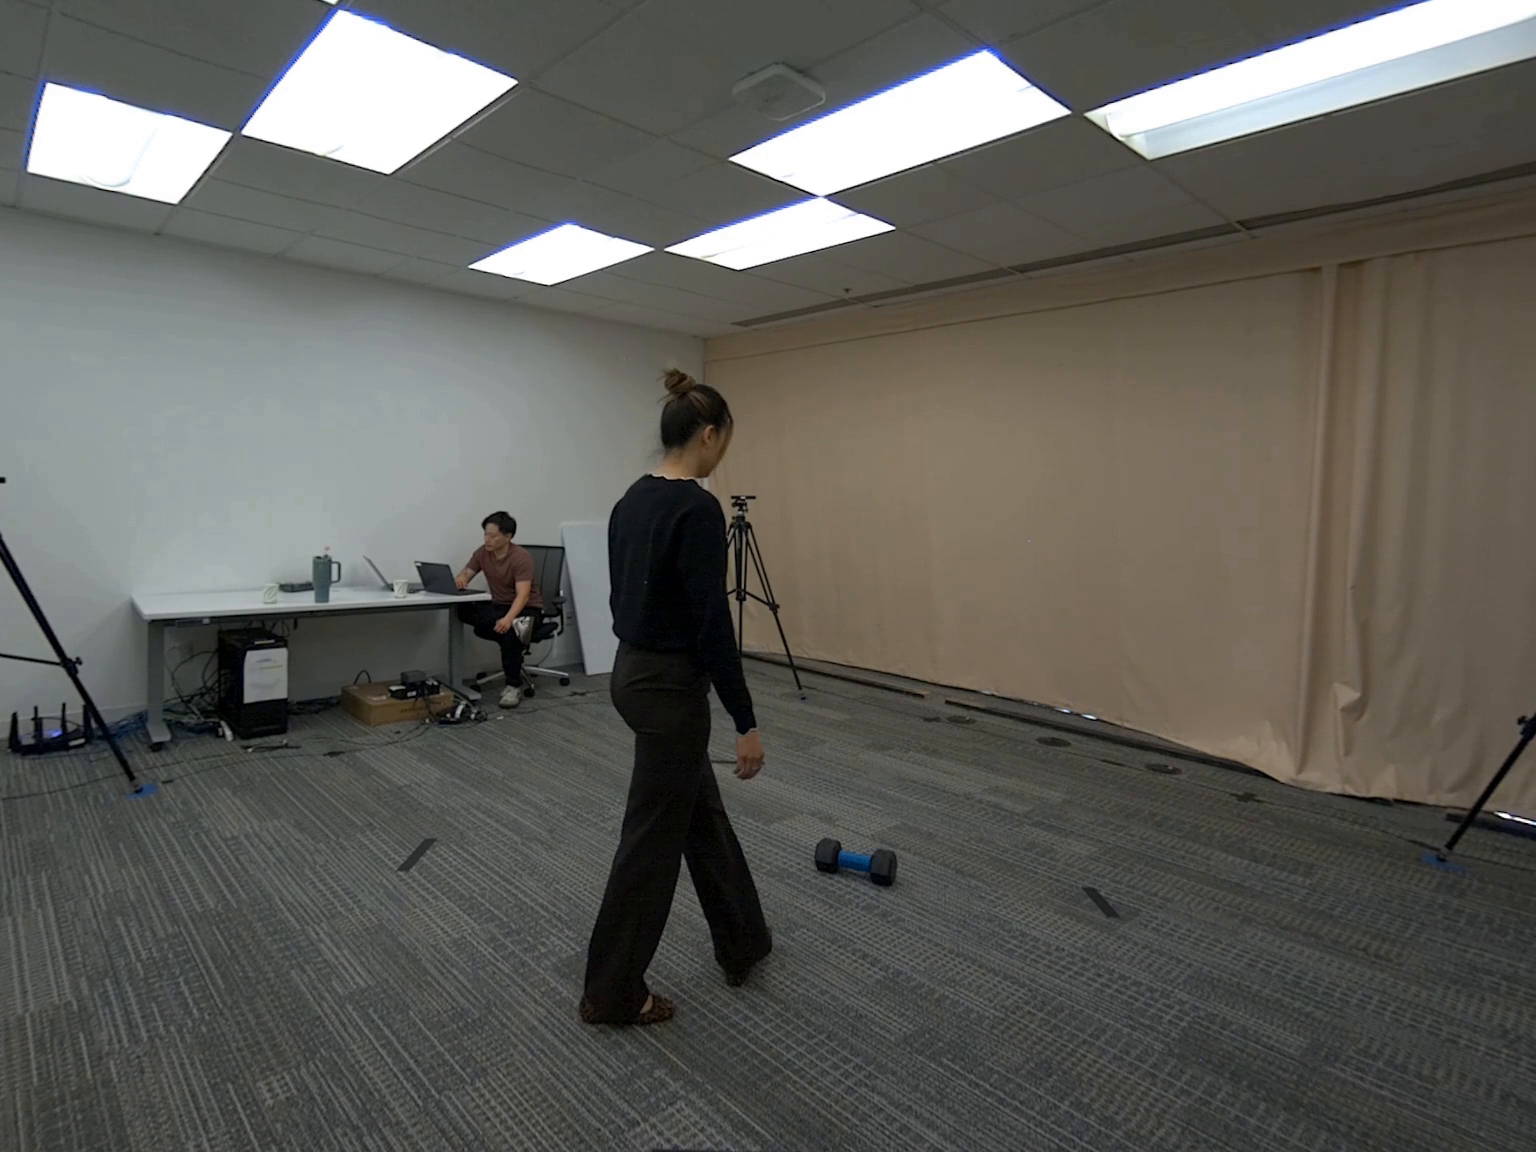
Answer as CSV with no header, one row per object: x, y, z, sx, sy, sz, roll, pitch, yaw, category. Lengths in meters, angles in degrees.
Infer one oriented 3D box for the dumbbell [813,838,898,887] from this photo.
0.318,1.054,3.116,0.299,0.108,0.121,4,6,24,dumbbell
